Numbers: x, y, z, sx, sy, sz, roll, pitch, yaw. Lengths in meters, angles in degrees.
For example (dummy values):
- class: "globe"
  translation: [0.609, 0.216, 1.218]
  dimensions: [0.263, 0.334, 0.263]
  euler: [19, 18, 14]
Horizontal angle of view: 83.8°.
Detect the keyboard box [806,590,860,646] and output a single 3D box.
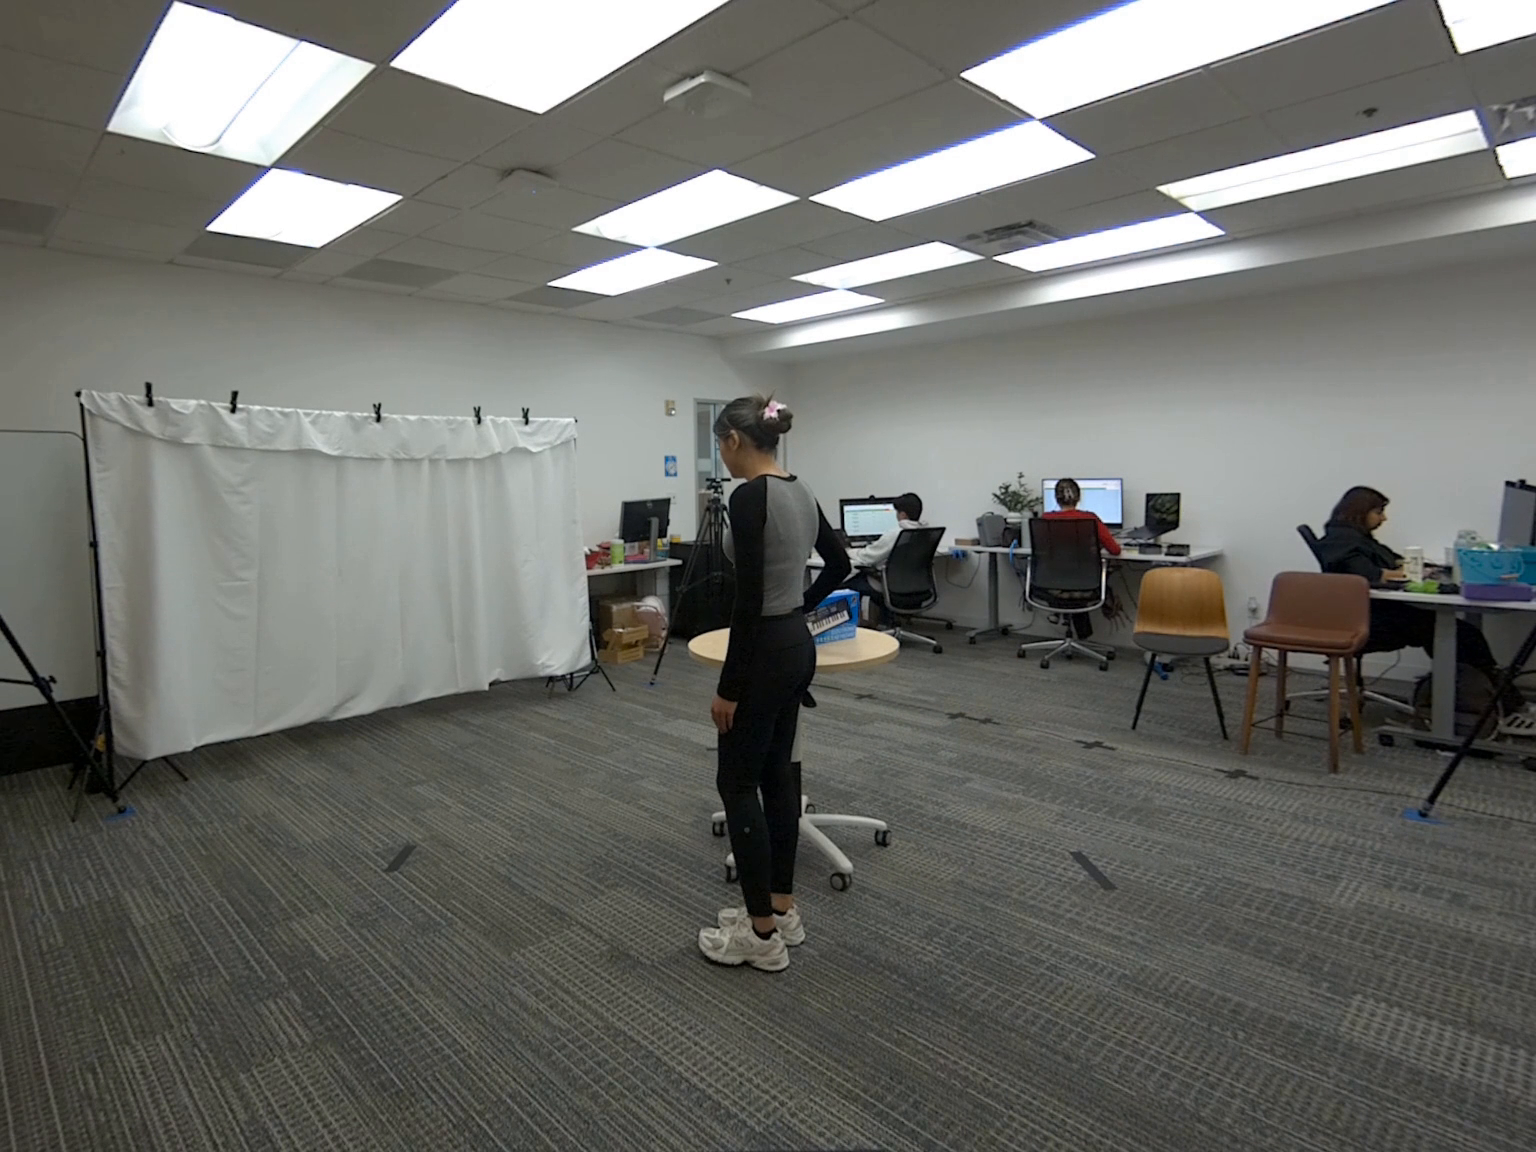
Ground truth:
- class: "keyboard box"
  translation: [0.155, 0.161, 3.078]
  dimensions: [0.426, 0.174, 0.061]
  euler: [-7, 13, -40]
